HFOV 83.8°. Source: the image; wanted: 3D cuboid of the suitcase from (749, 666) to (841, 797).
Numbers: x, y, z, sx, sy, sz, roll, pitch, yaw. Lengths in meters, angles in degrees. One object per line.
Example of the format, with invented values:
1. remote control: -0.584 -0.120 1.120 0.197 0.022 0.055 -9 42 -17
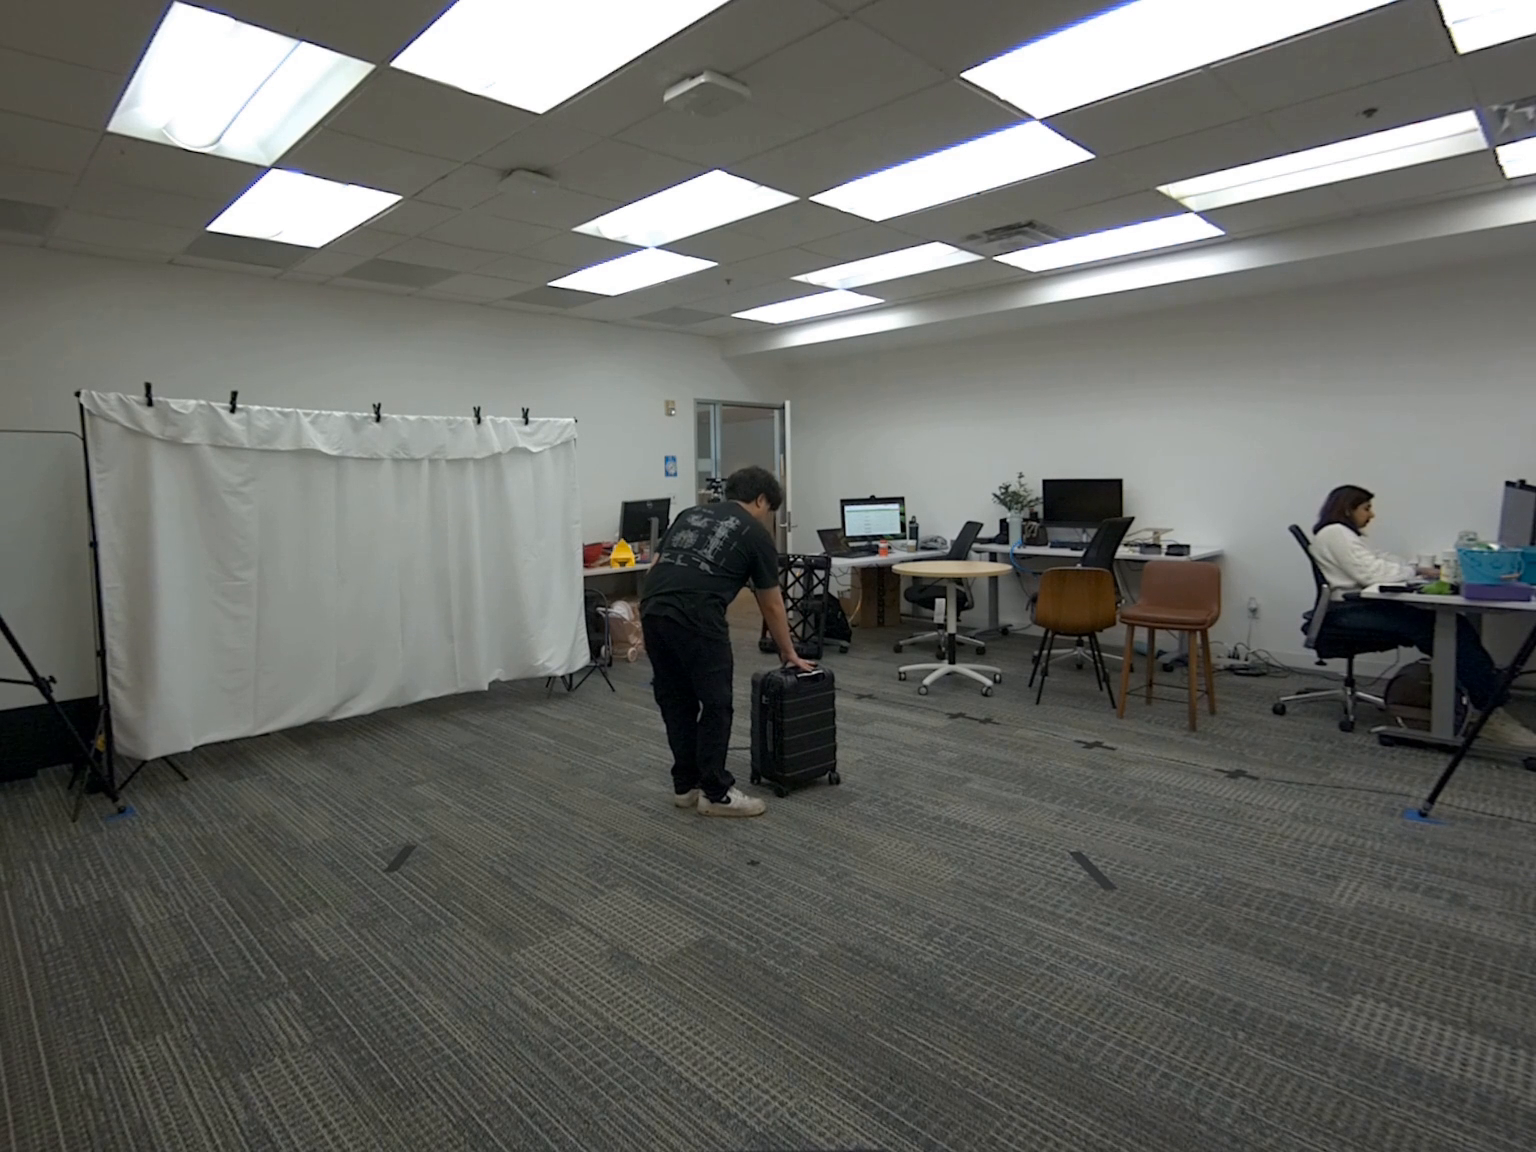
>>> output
1. suitcase: 0.113 0.676 3.898 0.366 0.547 0.256 -5 5 -38
